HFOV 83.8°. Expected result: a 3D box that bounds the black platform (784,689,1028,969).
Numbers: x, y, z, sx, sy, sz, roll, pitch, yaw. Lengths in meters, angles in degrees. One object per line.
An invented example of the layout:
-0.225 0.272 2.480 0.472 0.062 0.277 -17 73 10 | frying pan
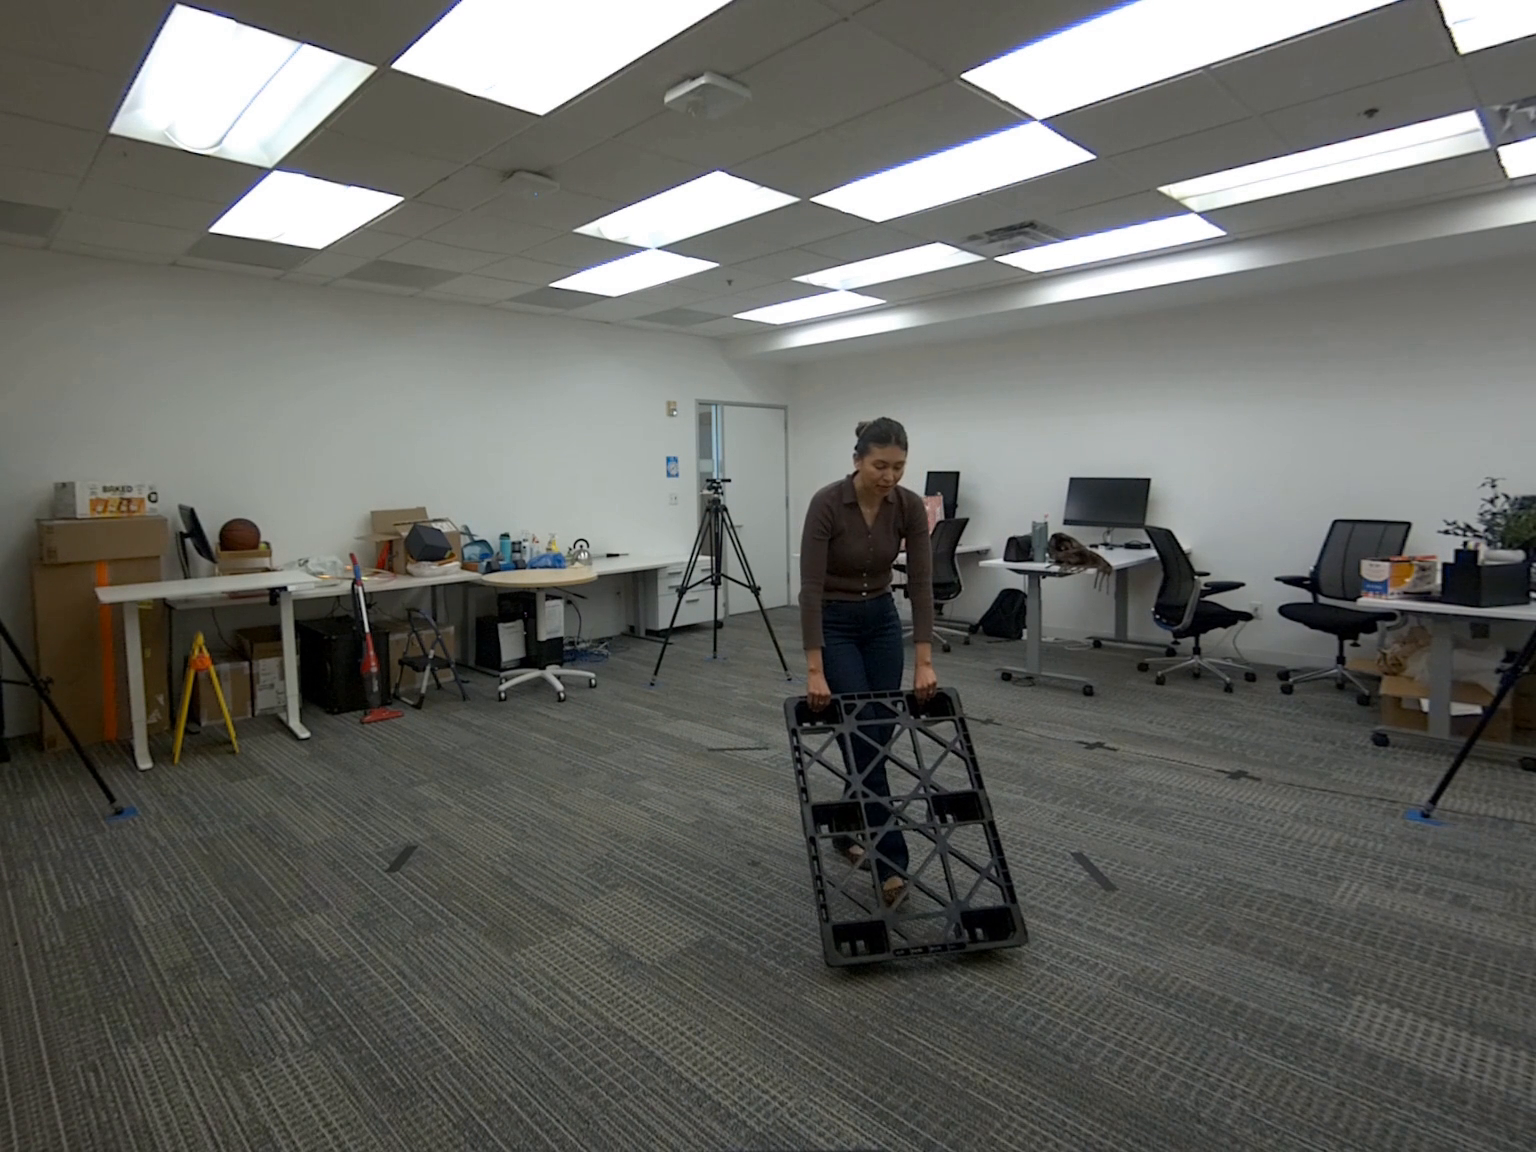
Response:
0.399 0.754 2.671 0.600 0.828 0.140 -2 -33 -9 | black platform
